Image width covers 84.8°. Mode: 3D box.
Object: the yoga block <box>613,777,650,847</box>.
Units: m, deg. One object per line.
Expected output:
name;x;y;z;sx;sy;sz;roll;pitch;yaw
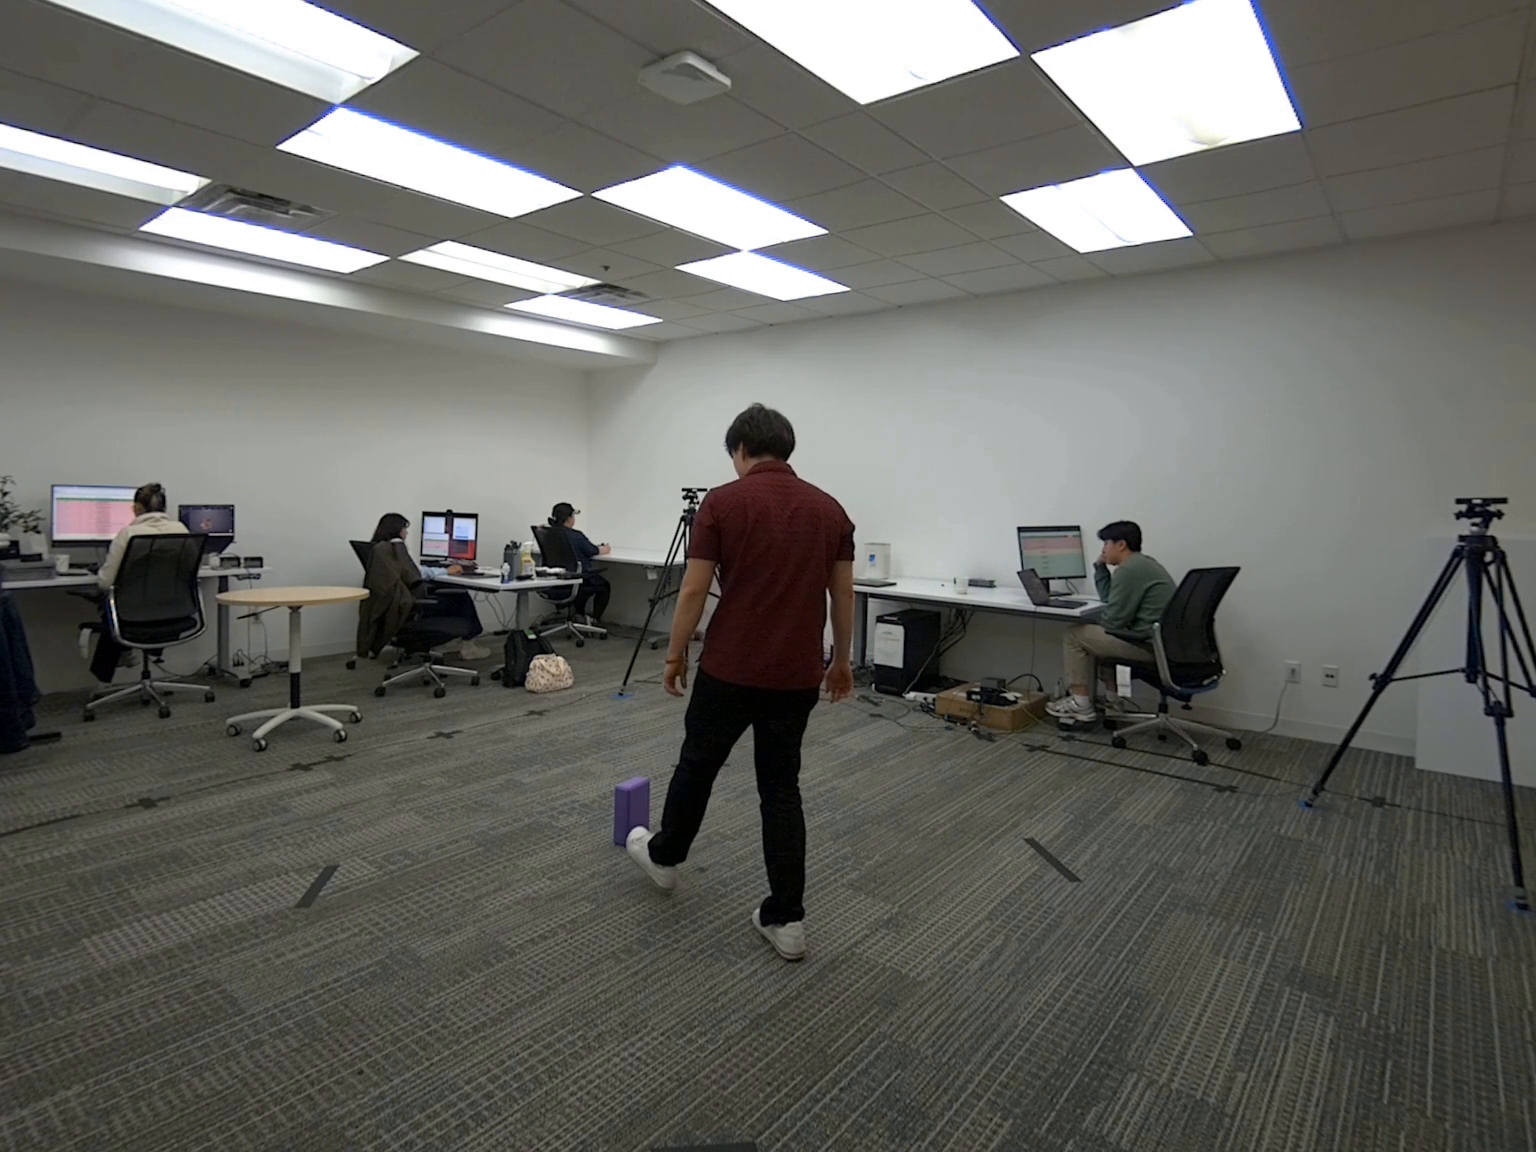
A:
yoga block;-0.551;0.924;3.359;0.078;0.229;0.145;2;3;27
